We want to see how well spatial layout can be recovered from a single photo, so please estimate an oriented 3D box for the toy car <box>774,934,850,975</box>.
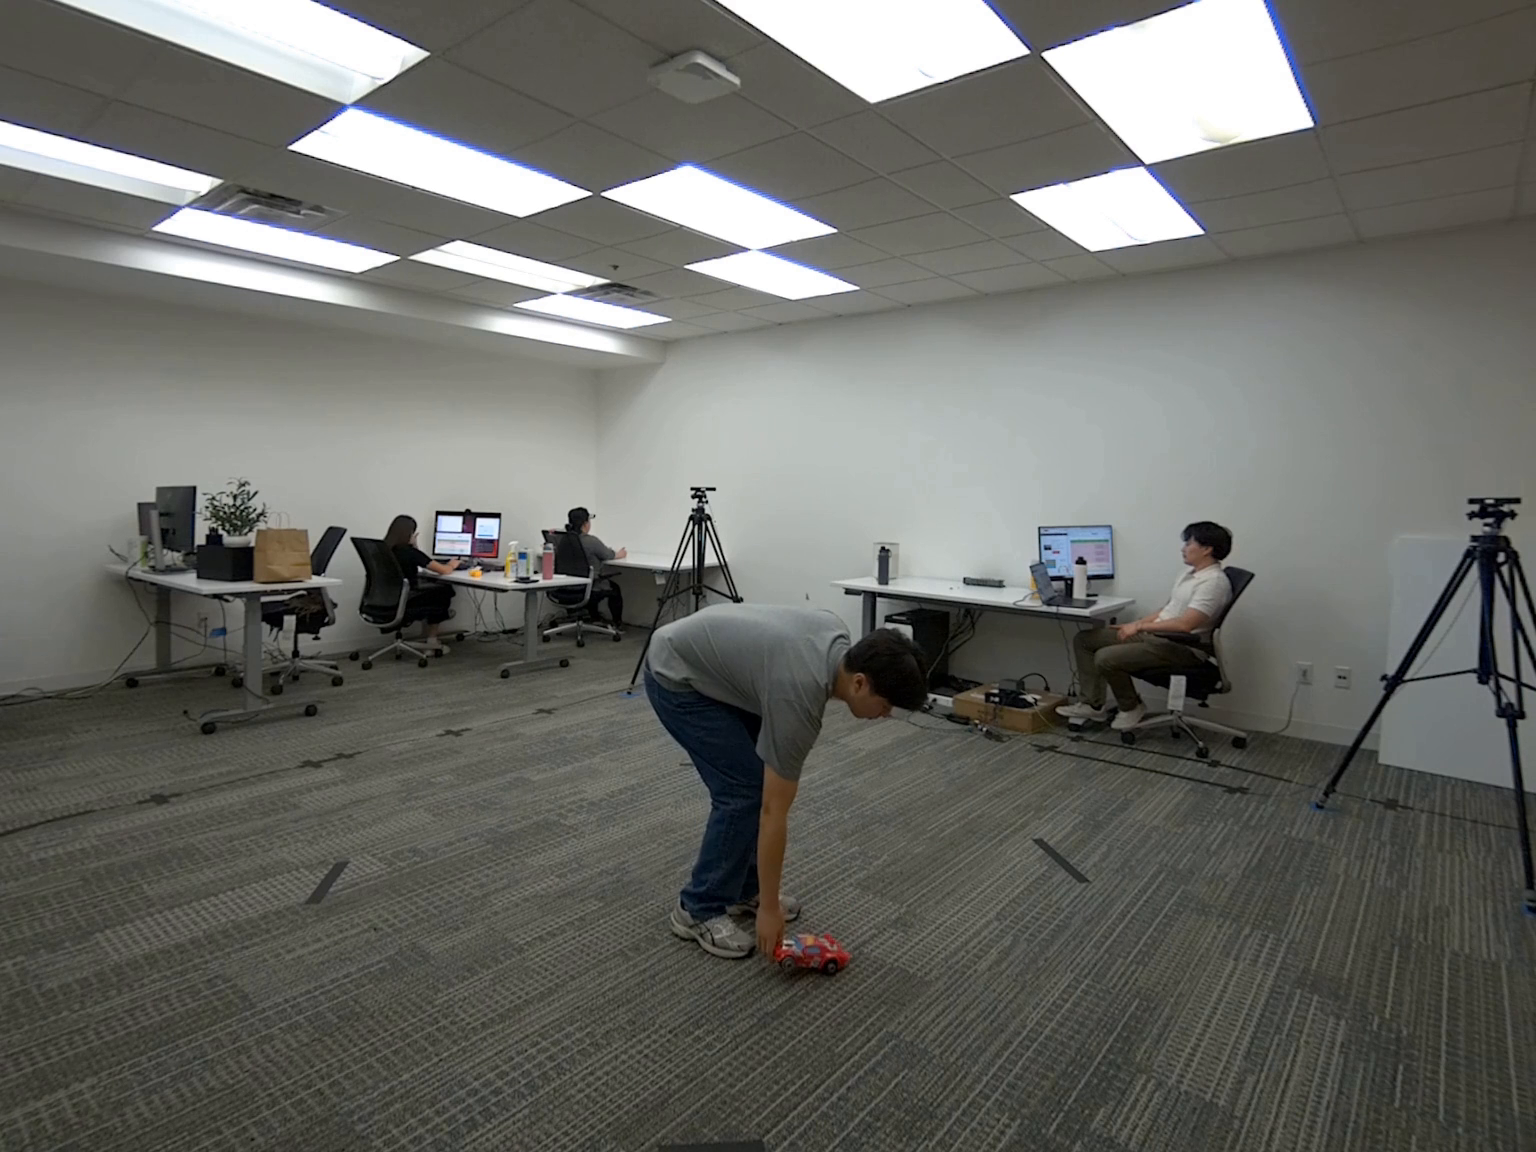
[{"bbox_3d":[0.120,1.093,2.468,0.248,0.083,0.133,2,3,-23],"label":"toy car"}]
